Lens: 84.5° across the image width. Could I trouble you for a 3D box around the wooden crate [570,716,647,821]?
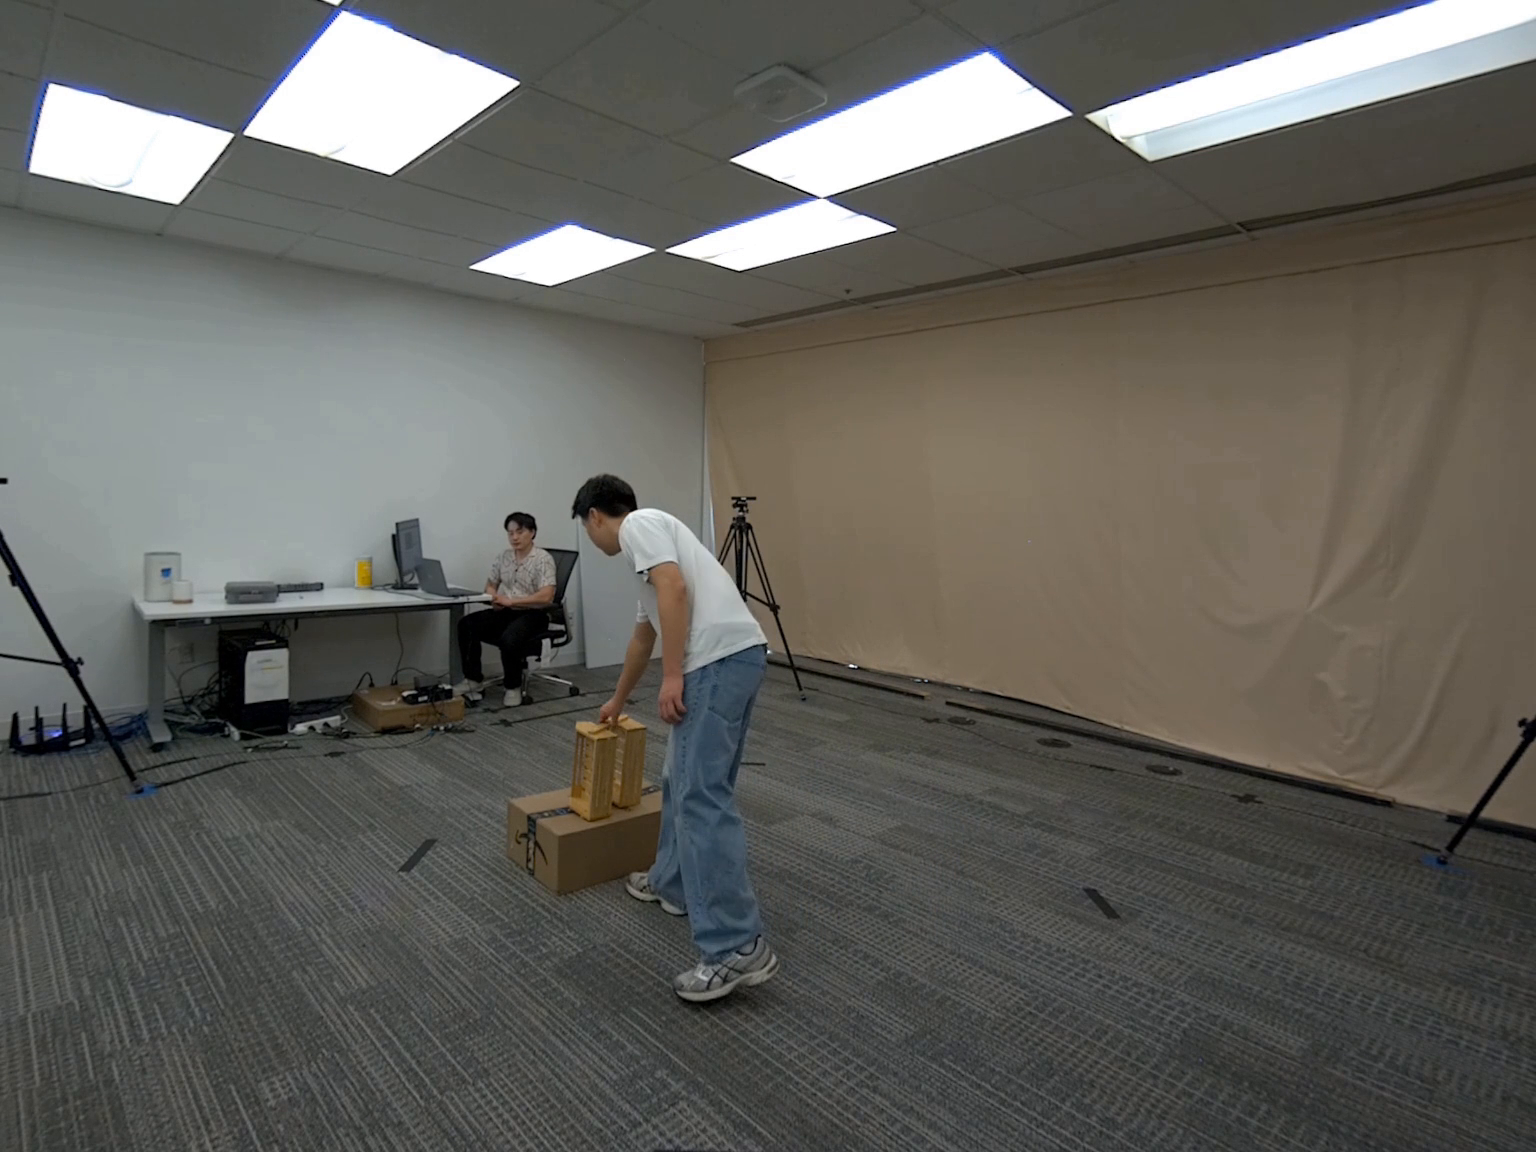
[{"bbox_3d":[-0.649,0.711,3.216,0.266,0.323,0.310,2,6,-42],"label":"wooden crate"}]
